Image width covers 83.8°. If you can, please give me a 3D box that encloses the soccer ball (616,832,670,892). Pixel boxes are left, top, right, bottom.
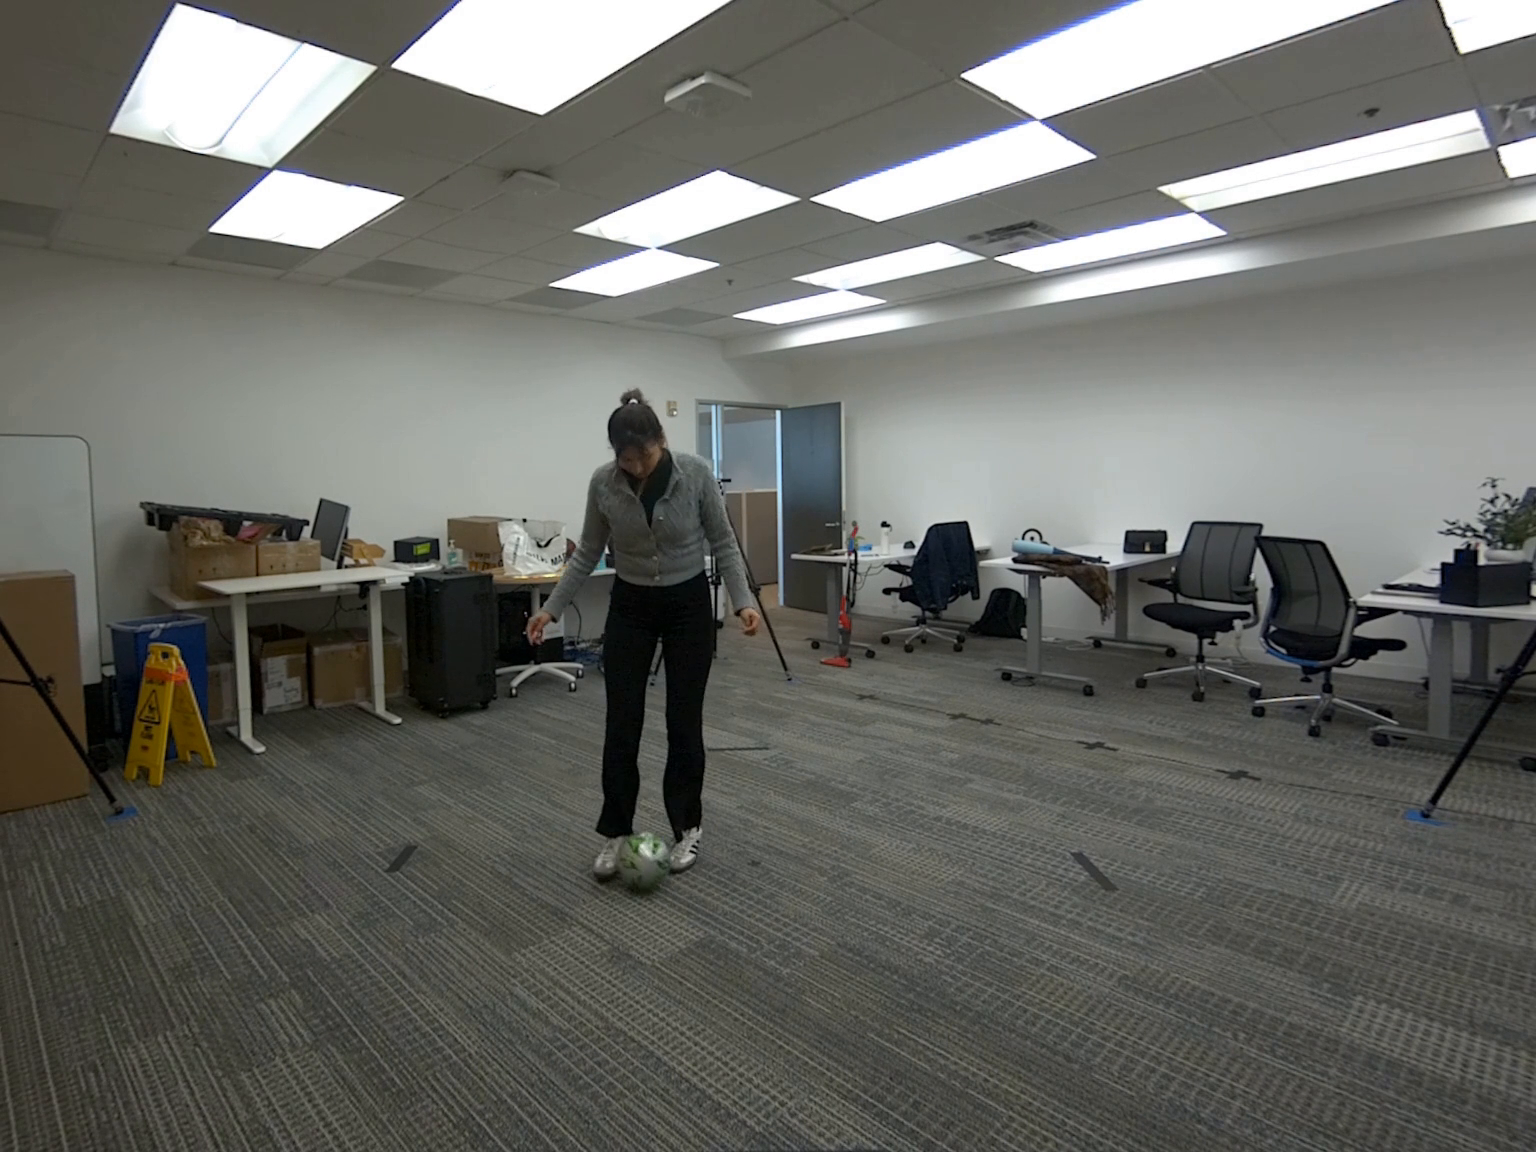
[{"bbox_3d":[-0.427,0.972,2.931,0.187,0.187,0.188,-1,5,-2],"label":"soccer ball"}]
